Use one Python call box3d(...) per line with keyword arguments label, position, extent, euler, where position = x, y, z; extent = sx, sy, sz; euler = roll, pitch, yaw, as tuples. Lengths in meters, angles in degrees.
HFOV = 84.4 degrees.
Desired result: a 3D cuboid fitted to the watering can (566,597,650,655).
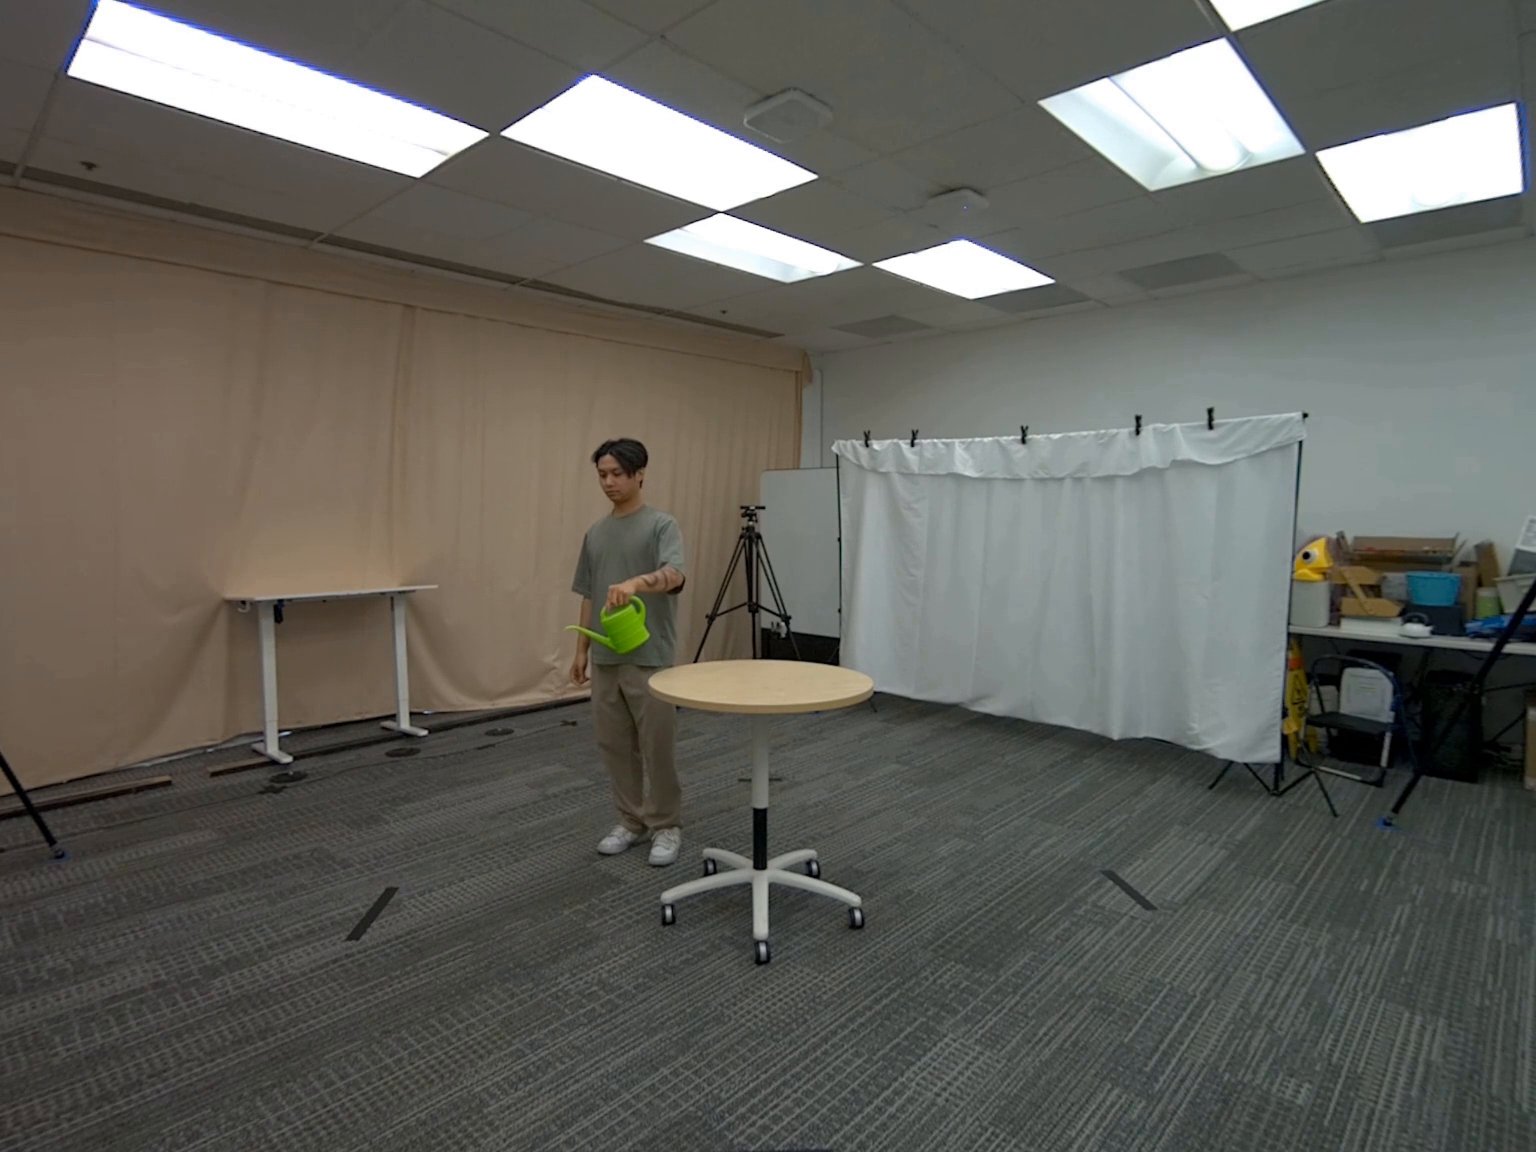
box3d(label="watering can", position=(-0.540, 0.190, 2.941), extent=(0.277, 0.175, 0.099), euler=(-27, 10, -4))
